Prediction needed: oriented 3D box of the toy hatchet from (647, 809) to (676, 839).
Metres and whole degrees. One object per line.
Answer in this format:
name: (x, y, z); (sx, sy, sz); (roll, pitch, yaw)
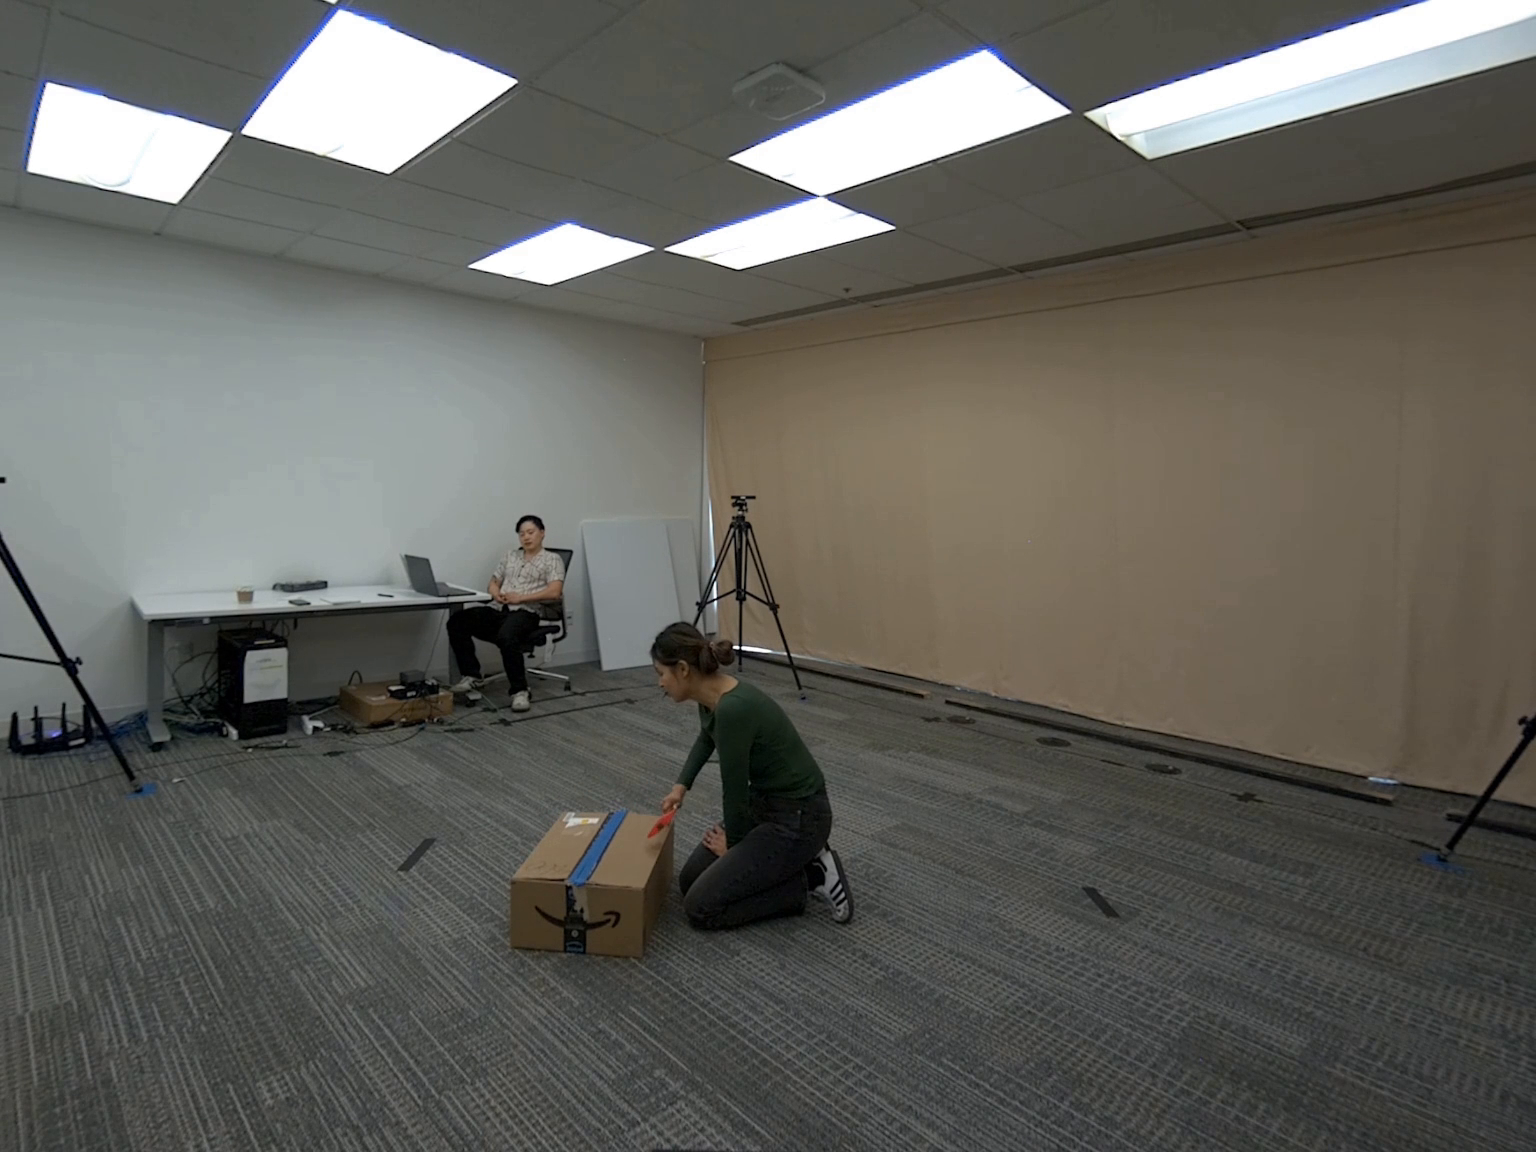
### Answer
toy hatchet: (-0.372, 0.836, 2.903); (0.030, 0.131, 0.268); (40, -9, 3)
